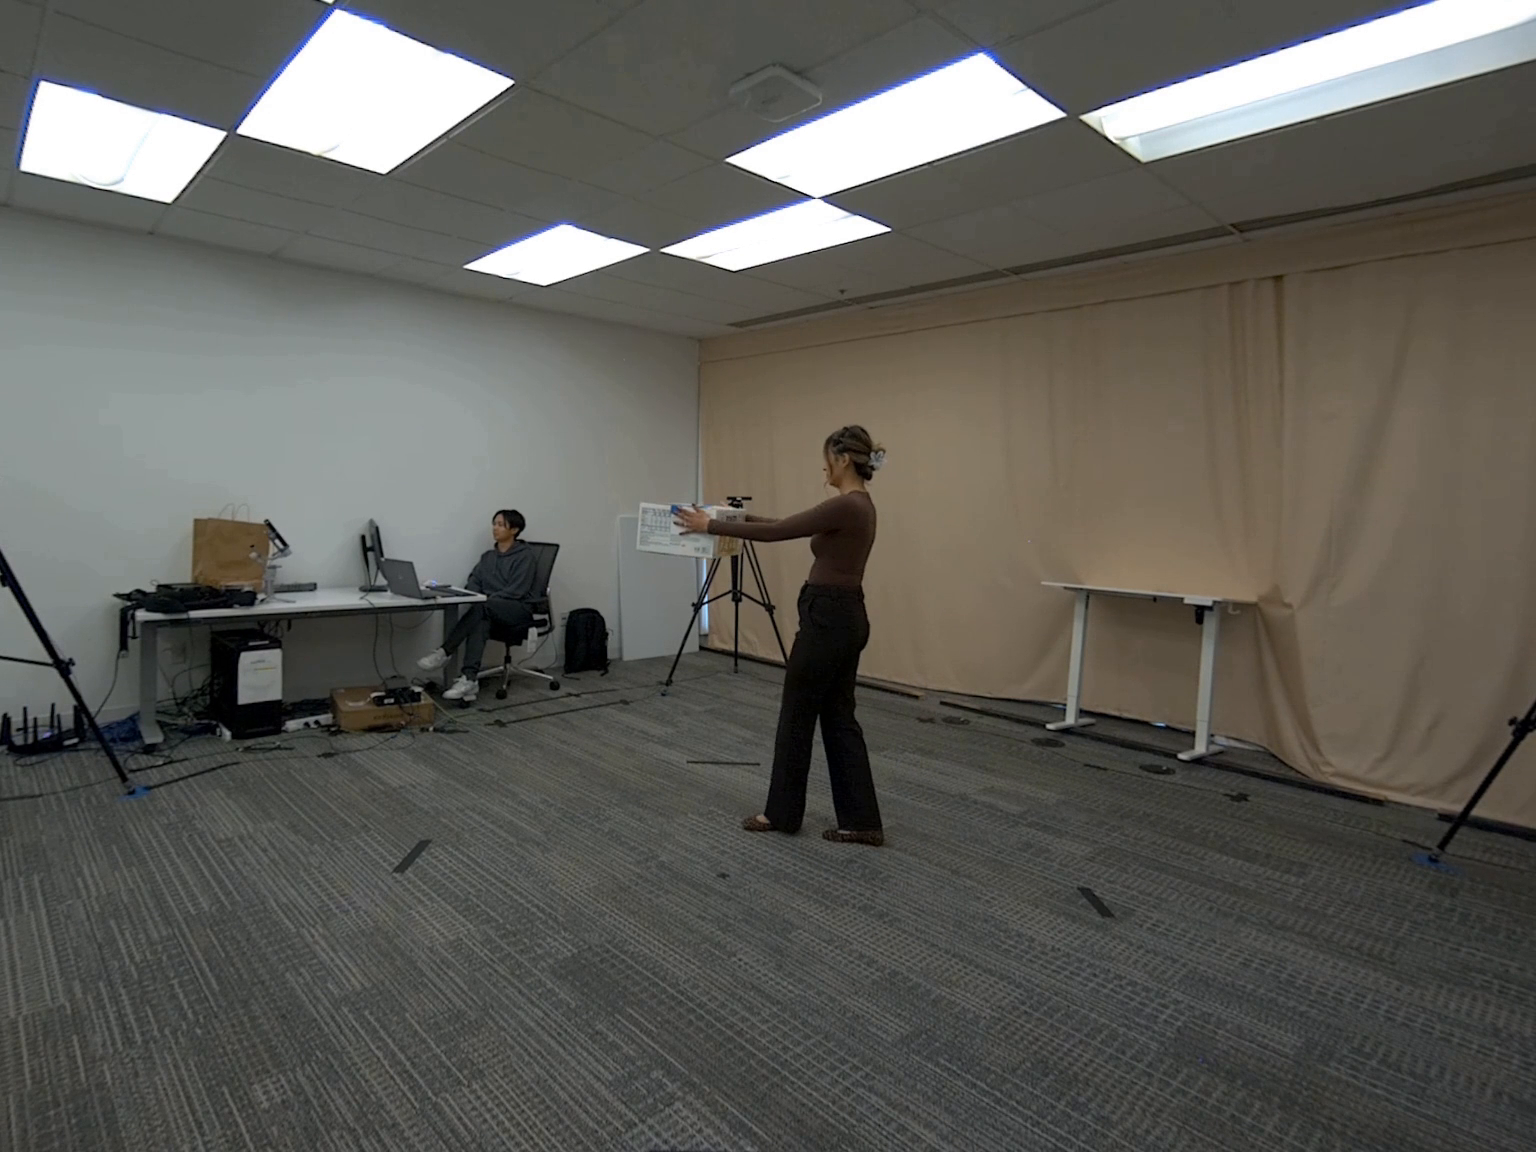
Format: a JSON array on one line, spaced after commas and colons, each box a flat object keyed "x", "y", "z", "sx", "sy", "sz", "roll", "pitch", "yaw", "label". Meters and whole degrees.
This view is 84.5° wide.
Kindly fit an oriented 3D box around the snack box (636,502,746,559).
[{"x": -0.334, "y": -0.204, "z": 3.631, "sx": 0.345, "sy": 0.205, "sz": 0.401, "roll": 7, "pitch": 6, "yaw": 16, "label": "snack box"}]
